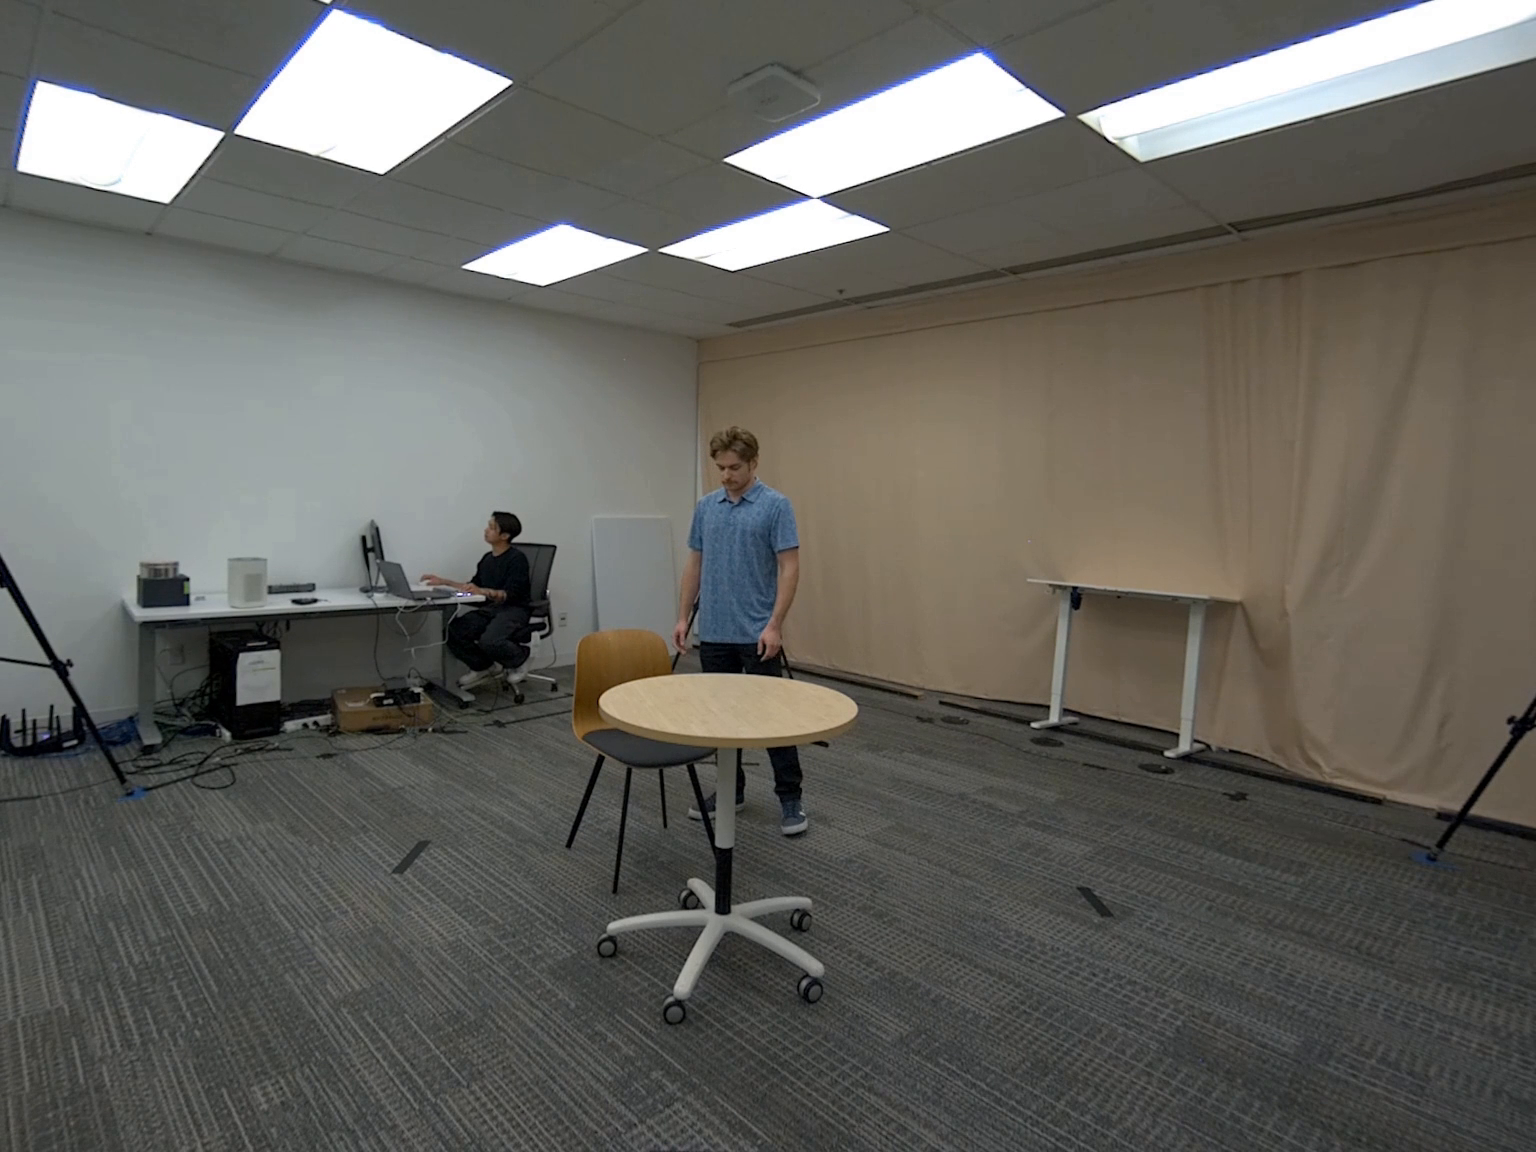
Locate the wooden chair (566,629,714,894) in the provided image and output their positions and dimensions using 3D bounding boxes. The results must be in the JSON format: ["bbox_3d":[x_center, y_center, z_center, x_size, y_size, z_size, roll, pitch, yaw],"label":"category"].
[{"bbox_3d":[-0.475,0.662,3.215,0.468,0.878,0.534,-1,0,-35],"label":"wooden chair"}]
